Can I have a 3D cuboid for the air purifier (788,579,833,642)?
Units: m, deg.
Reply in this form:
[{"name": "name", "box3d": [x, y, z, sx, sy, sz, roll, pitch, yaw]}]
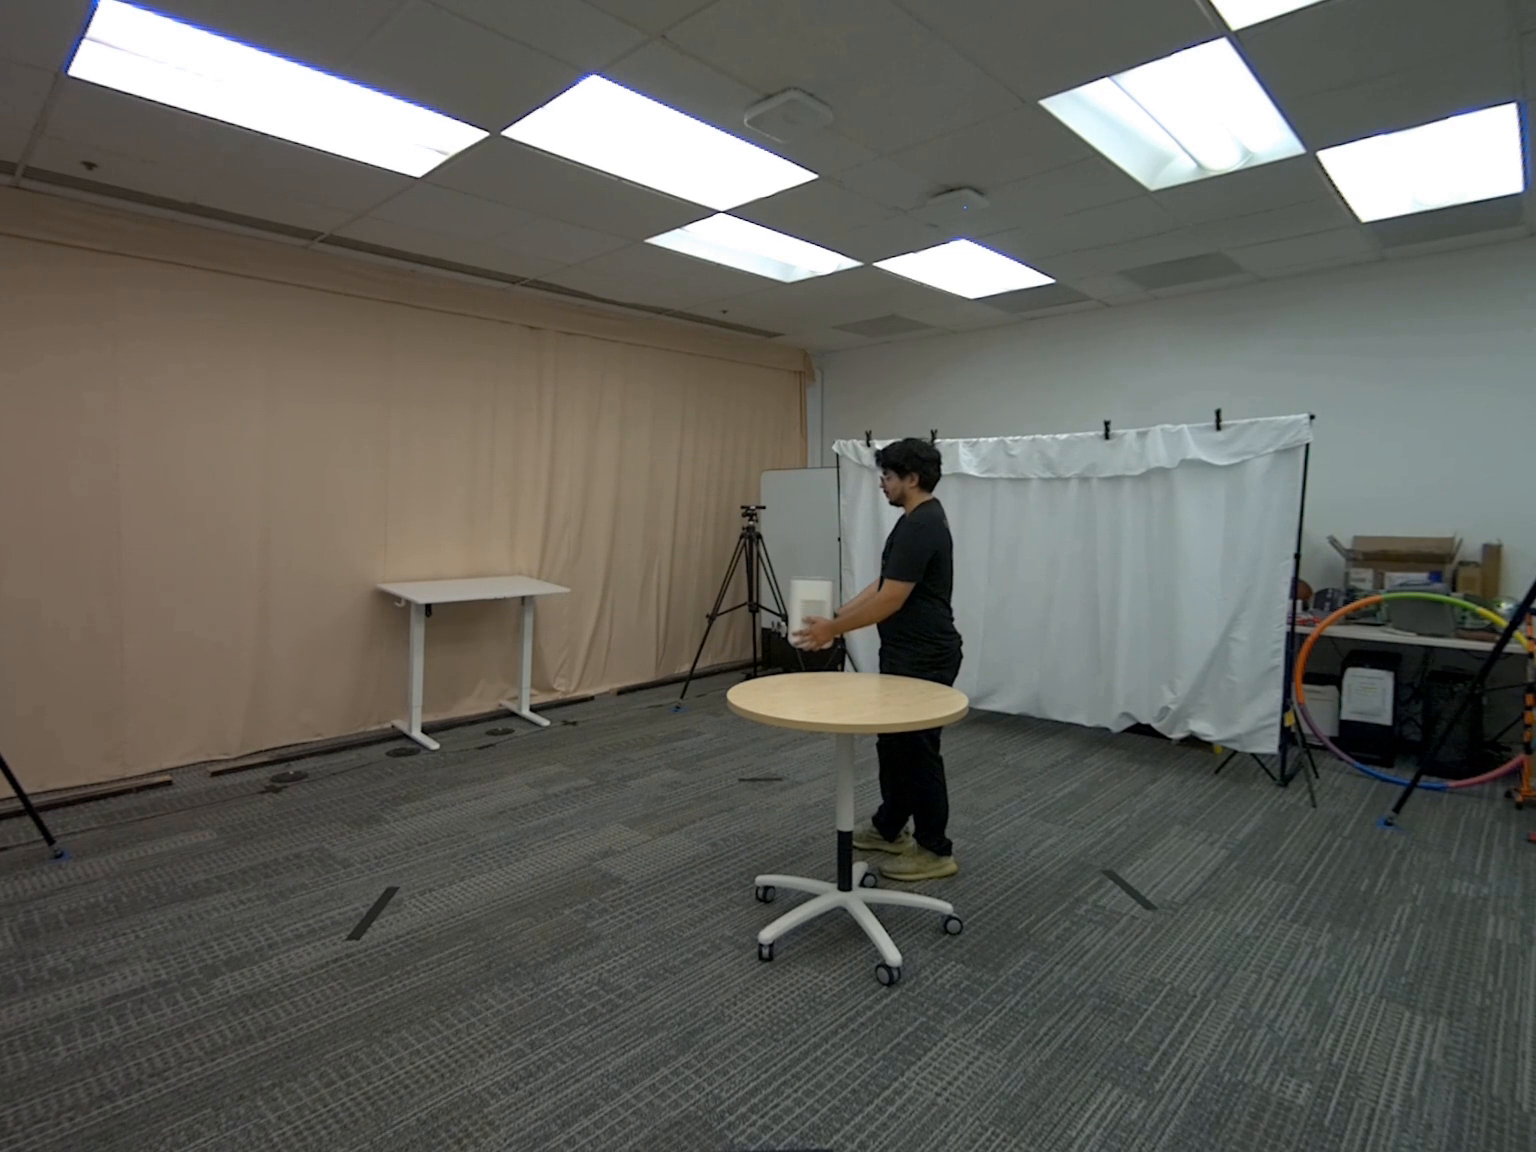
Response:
[{"name": "air purifier", "box3d": [0.173, 0.142, 3.250, 0.171, 0.265, 0.172, 3, 3, -6]}]
